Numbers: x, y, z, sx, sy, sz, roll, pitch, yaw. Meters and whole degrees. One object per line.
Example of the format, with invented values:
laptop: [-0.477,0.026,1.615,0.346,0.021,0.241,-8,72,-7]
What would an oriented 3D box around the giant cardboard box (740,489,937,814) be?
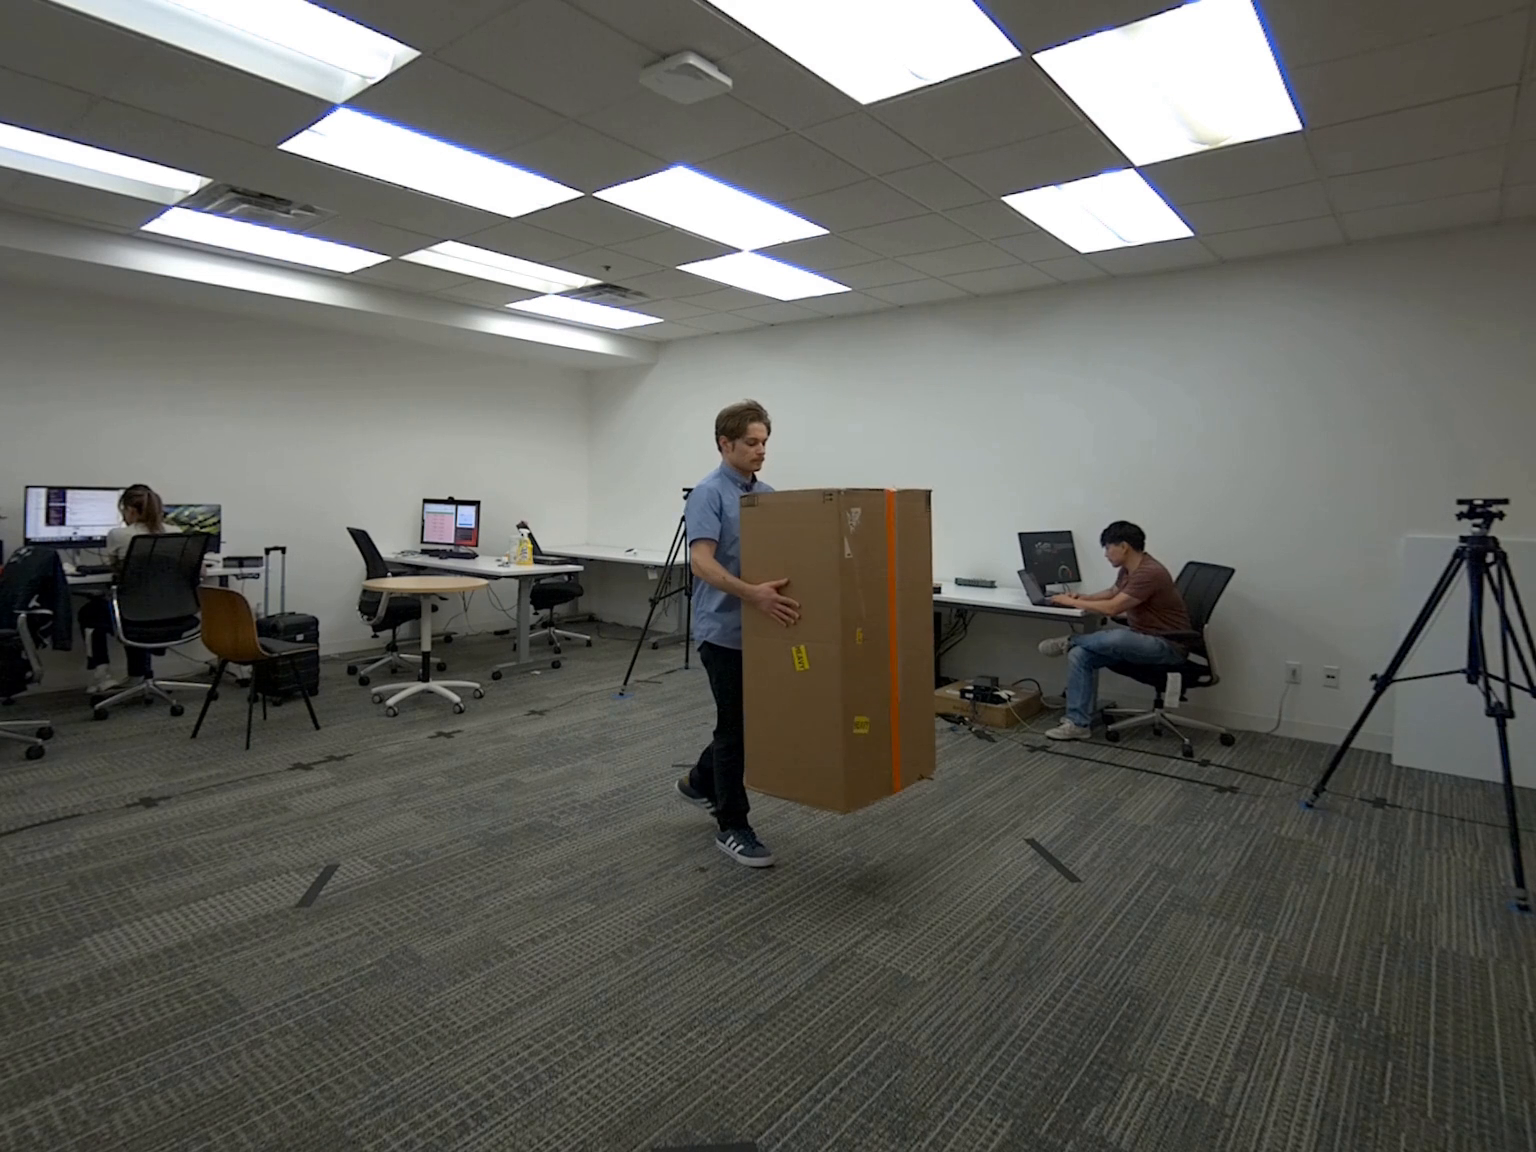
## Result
giant cardboard box: [0.249,0.213,2.986,0.440,1.025,0.560,0,2,42]
